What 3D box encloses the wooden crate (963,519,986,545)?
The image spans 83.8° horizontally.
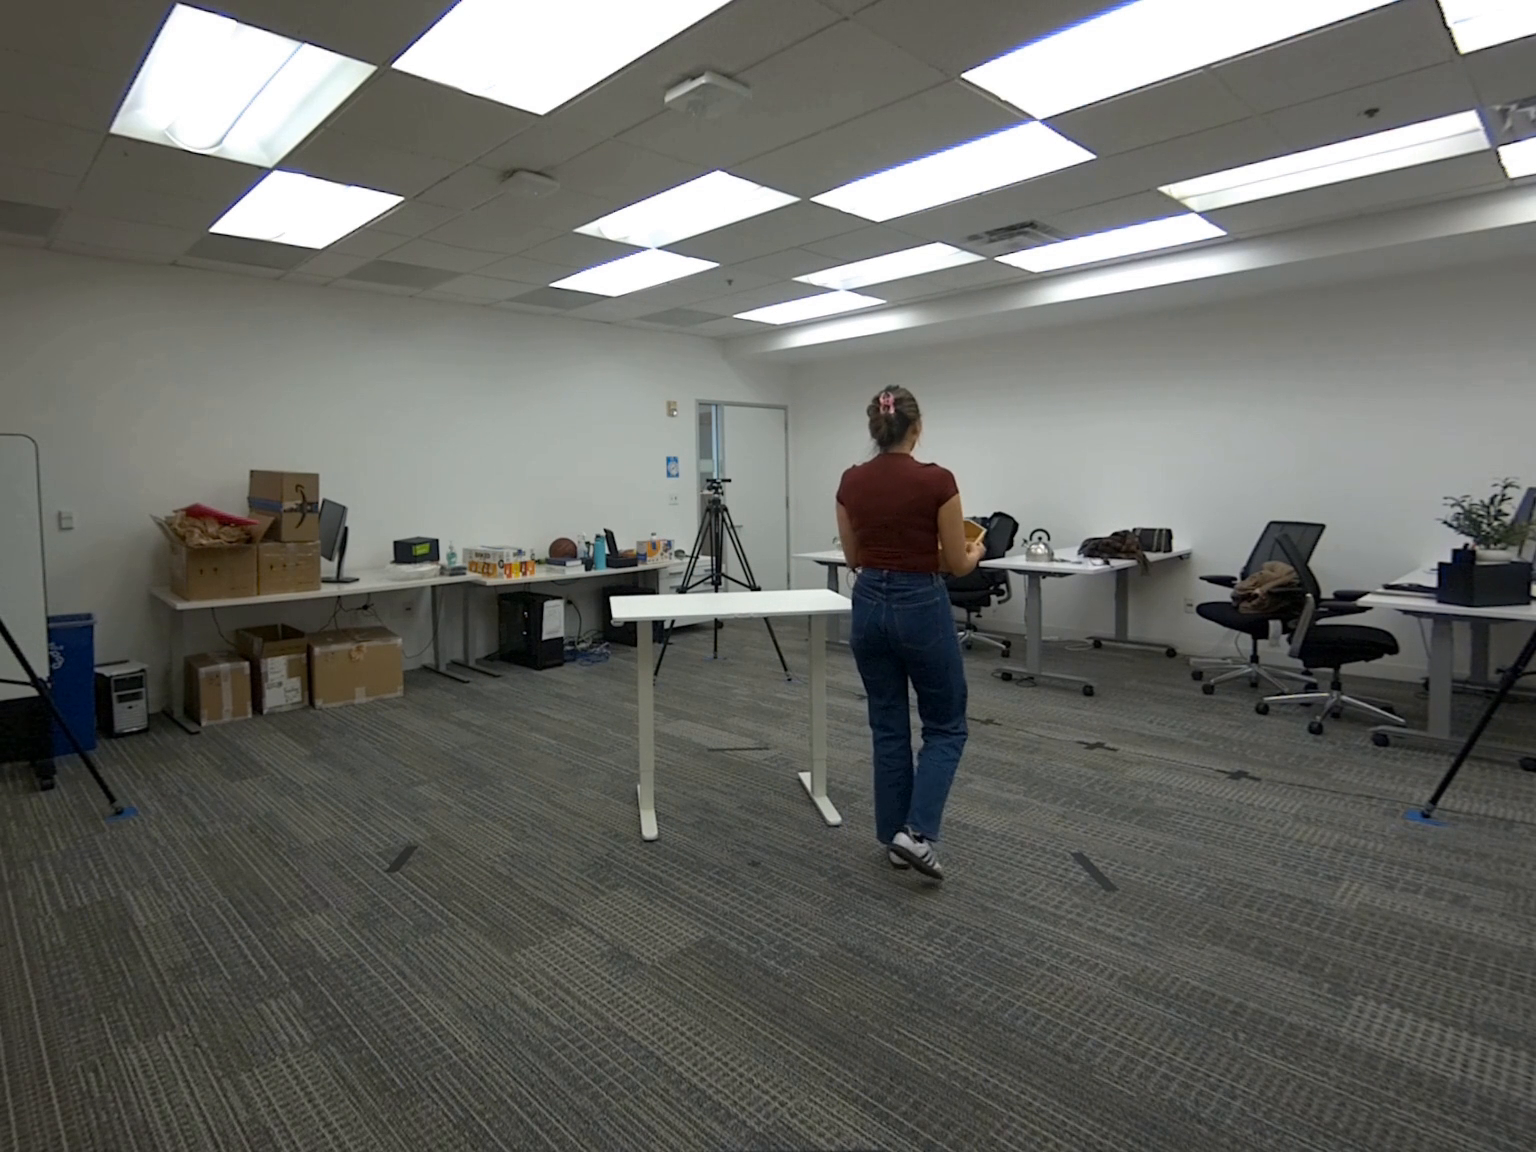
[{"bbox_3d":[0.645,-0.202,3.275,0.310,0.268,0.323,-1,23,31],"label":"wooden crate"}]
